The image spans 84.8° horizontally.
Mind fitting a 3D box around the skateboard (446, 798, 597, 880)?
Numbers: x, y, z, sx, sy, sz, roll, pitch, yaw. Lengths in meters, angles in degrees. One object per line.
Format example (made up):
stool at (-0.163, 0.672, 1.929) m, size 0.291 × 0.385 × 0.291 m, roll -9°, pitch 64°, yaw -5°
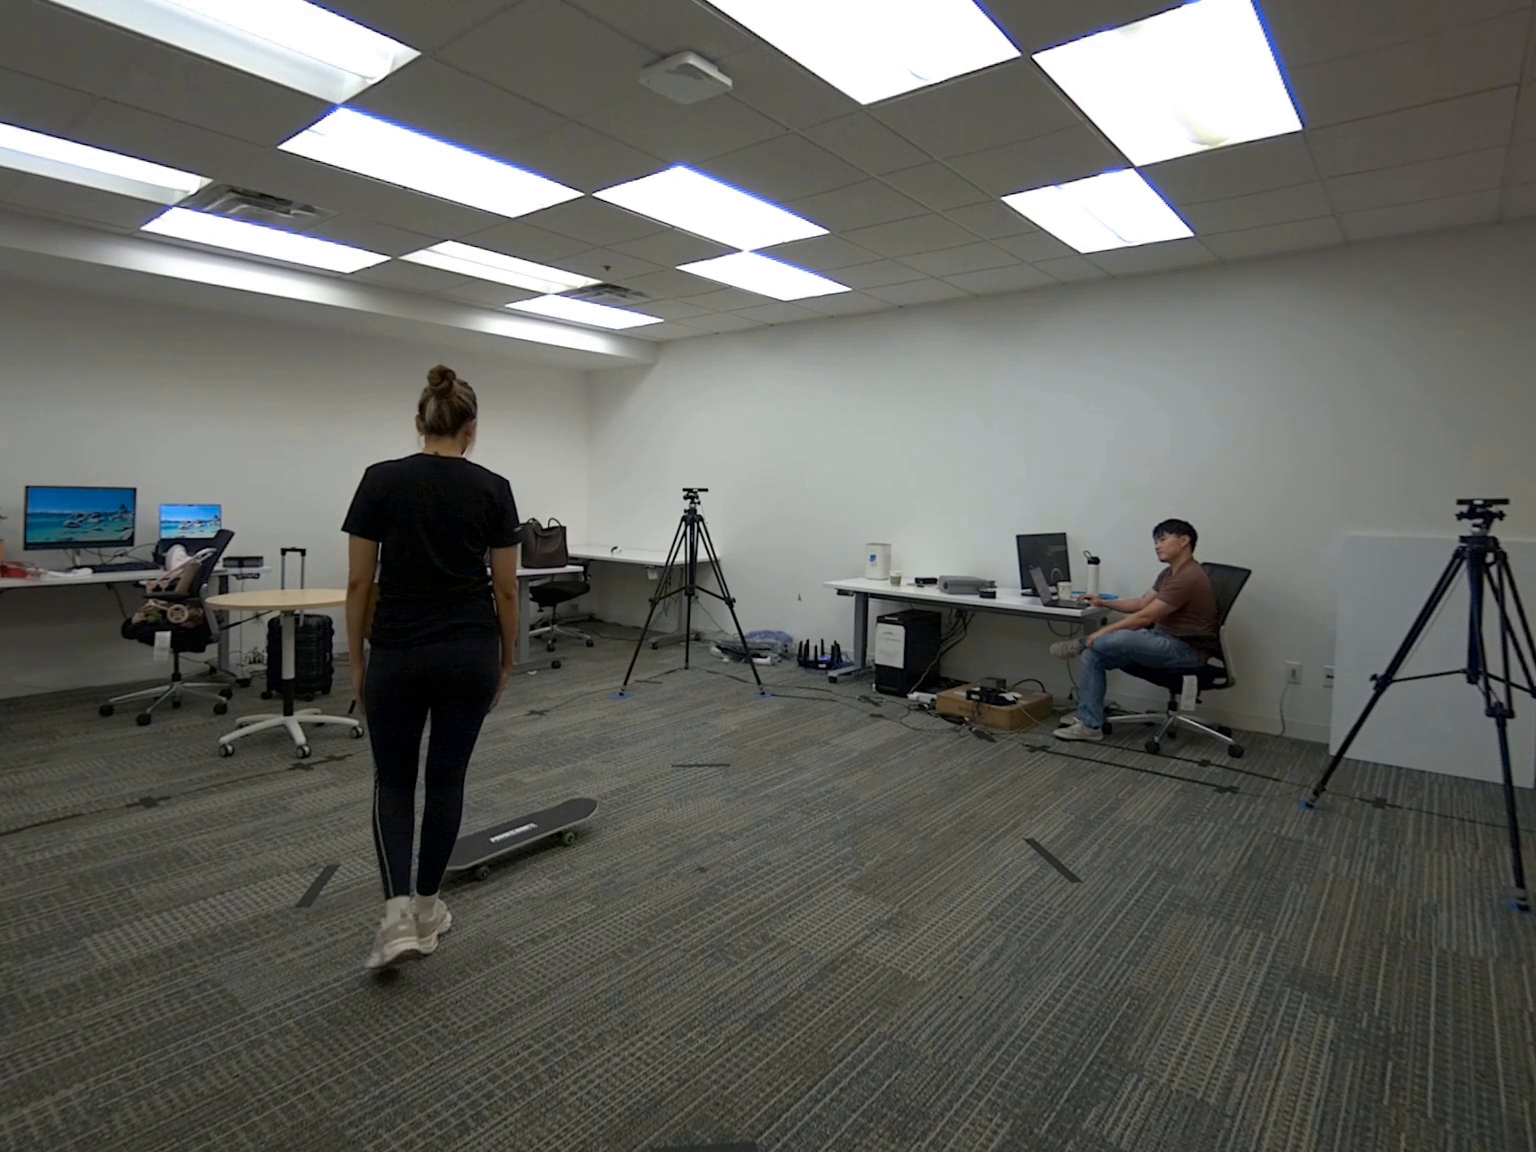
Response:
skateboard at (-0.962, 0.995, 3.199) m, size 0.200 × 0.110 × 0.763 m, roll 6°, pitch 8°, yaw 36°
